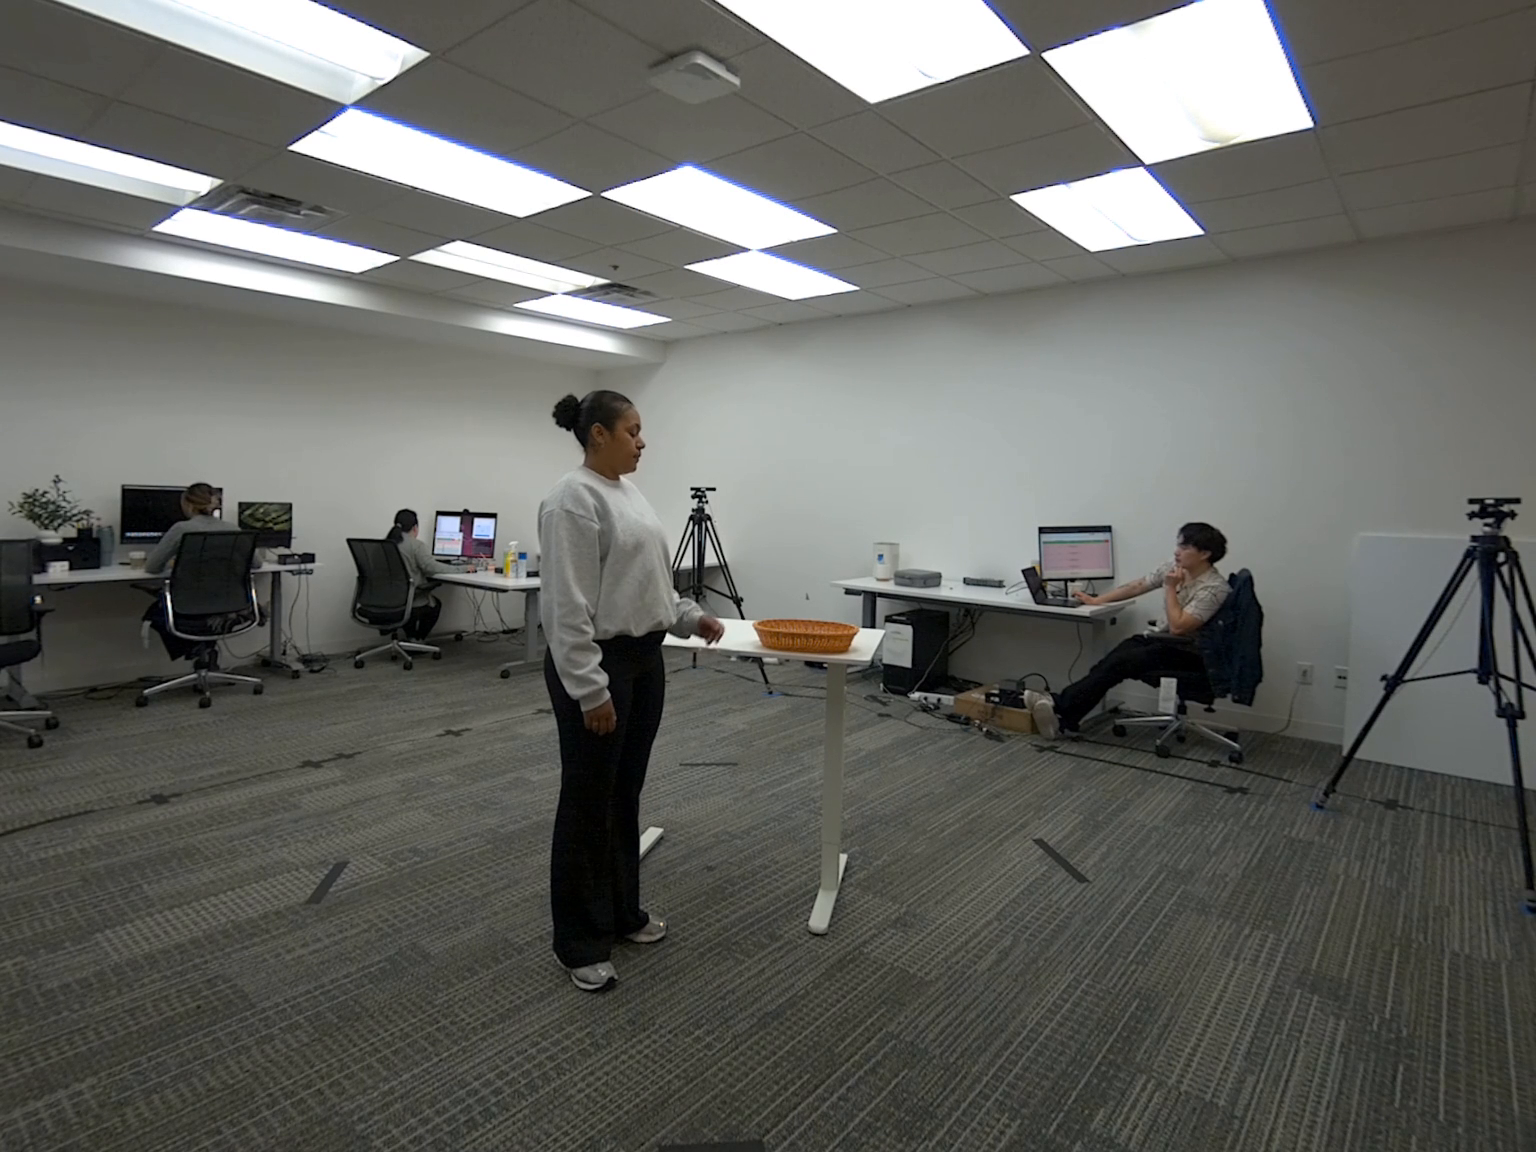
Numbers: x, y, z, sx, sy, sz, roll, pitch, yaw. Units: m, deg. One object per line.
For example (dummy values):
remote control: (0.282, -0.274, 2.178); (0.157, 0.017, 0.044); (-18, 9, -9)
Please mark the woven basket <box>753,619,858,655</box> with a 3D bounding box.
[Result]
woven basket: (0.112, 0.197, 2.752); (0.354, 0.073, 0.250); (2, 5, 9)
